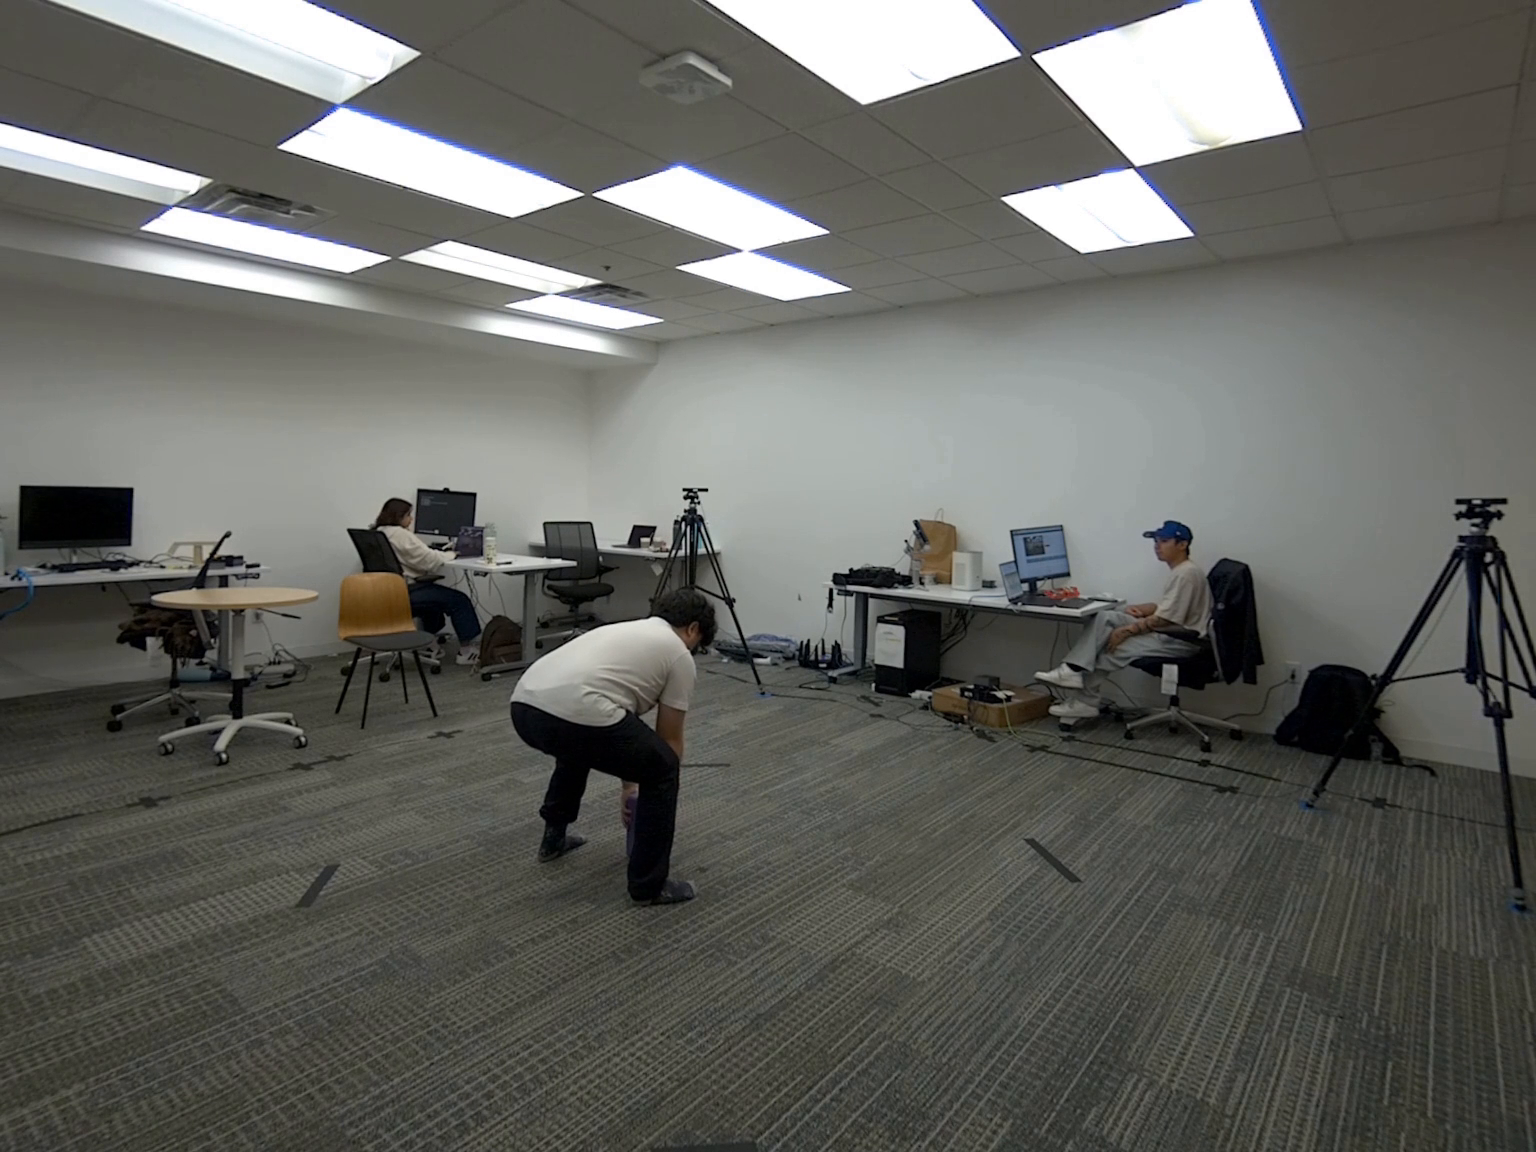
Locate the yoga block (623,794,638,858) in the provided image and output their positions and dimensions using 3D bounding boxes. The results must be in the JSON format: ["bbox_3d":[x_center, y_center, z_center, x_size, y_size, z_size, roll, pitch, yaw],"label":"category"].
[{"bbox_3d":[-0.467,0.934,3.186,0.154,0.229,0.074,1,0,36],"label":"yoga block"}]
